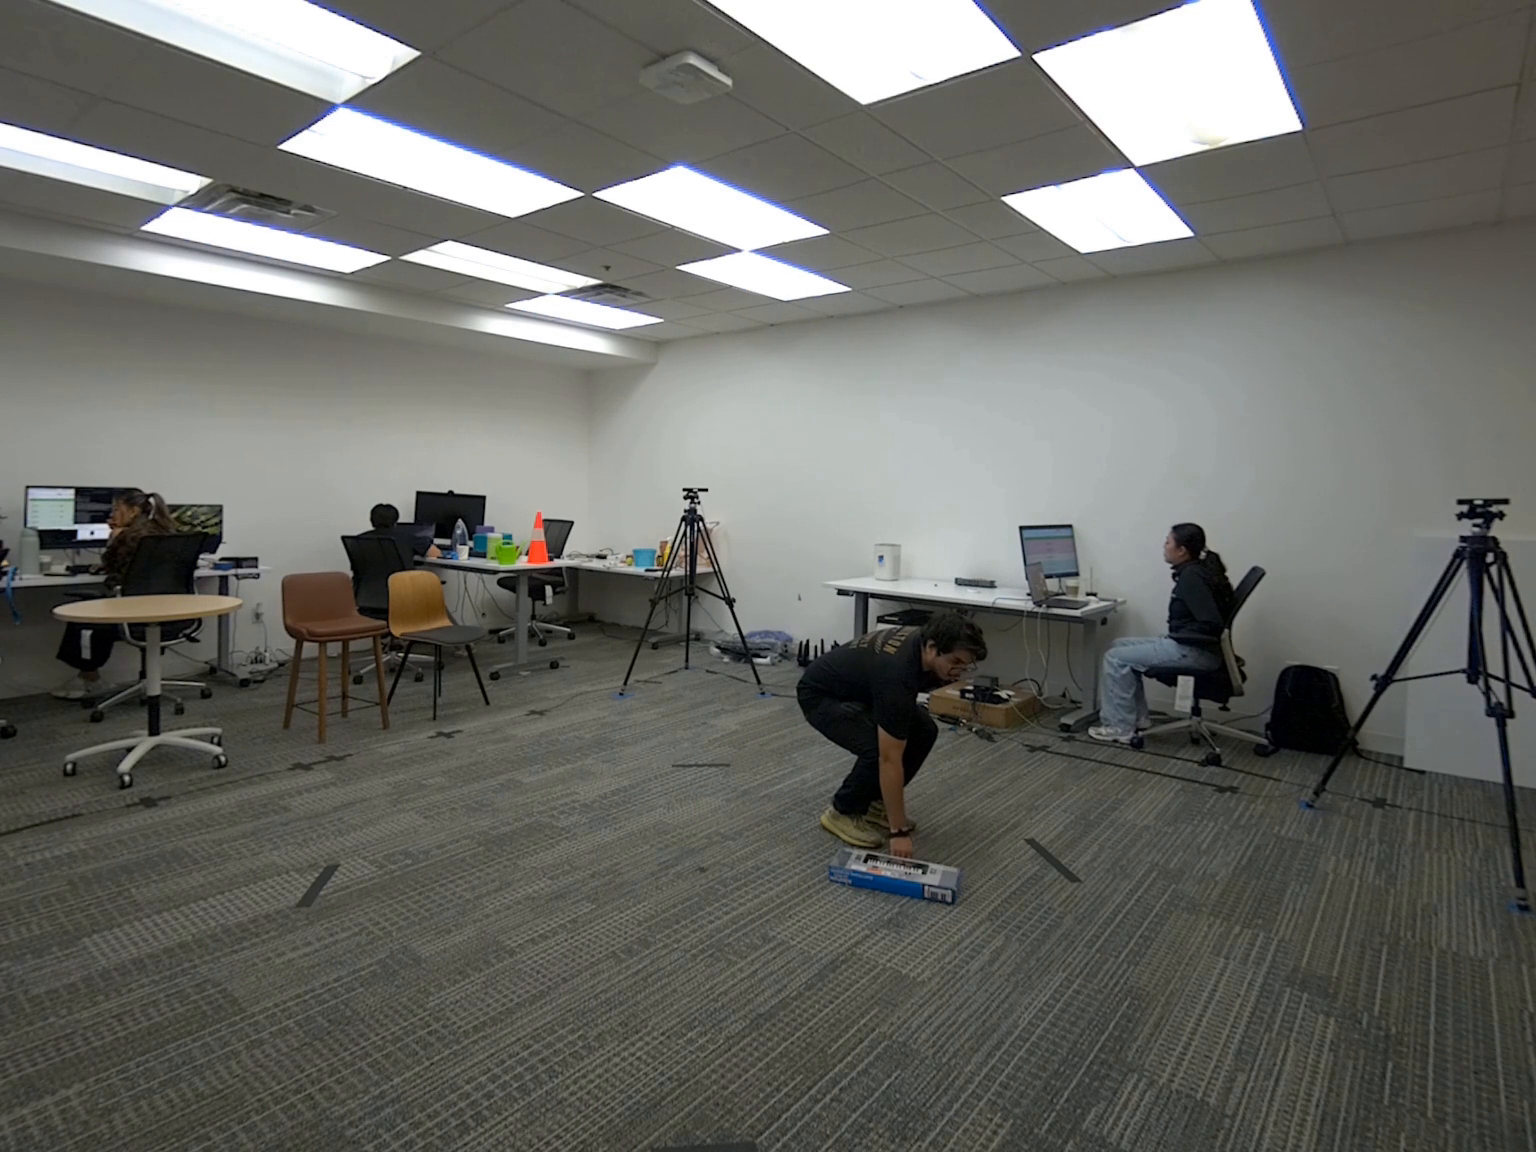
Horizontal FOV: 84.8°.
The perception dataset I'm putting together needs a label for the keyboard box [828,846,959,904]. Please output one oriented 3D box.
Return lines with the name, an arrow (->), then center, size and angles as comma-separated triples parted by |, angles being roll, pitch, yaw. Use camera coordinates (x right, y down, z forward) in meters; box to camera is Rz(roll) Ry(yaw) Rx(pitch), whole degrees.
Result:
keyboard box -> 0.445, 1.062, 3.035 | 0.447, 0.059, 0.173 | 3, 6, 21
